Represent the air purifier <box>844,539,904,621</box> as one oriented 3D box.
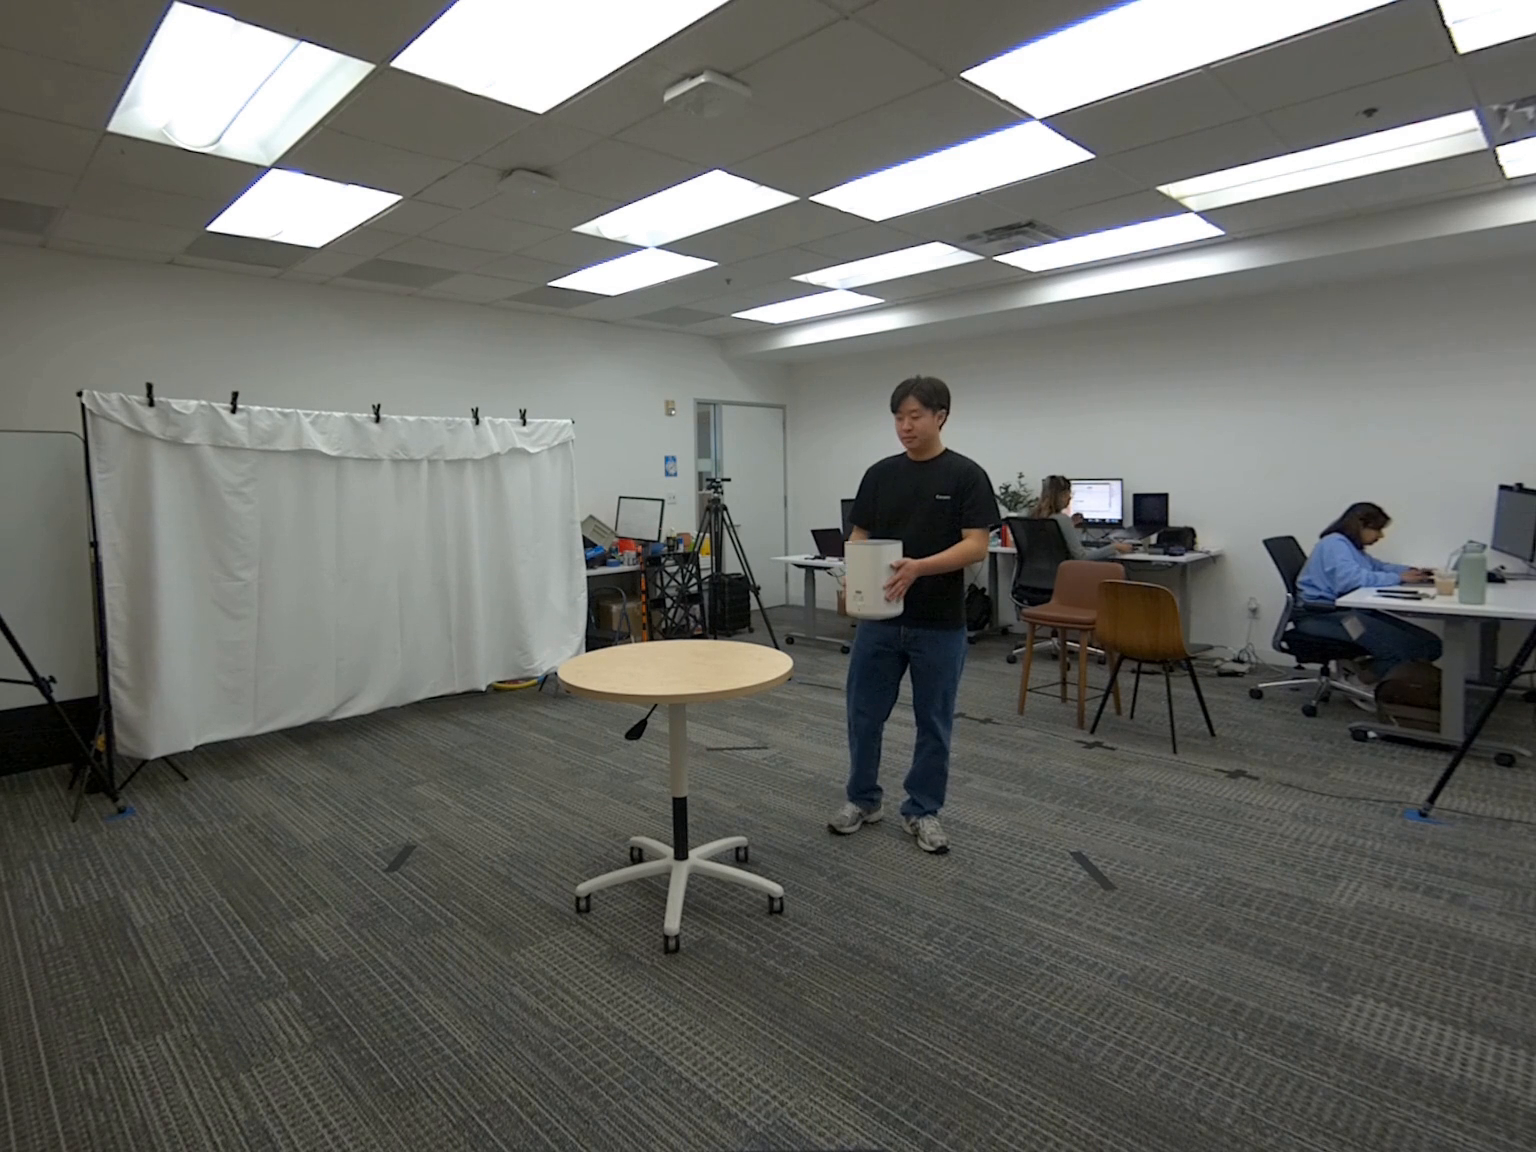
[{"bbox_3d":[0.379,0.012,3.002,0.176,0.264,0.167,2,6,37],"label":"air purifier"}]
